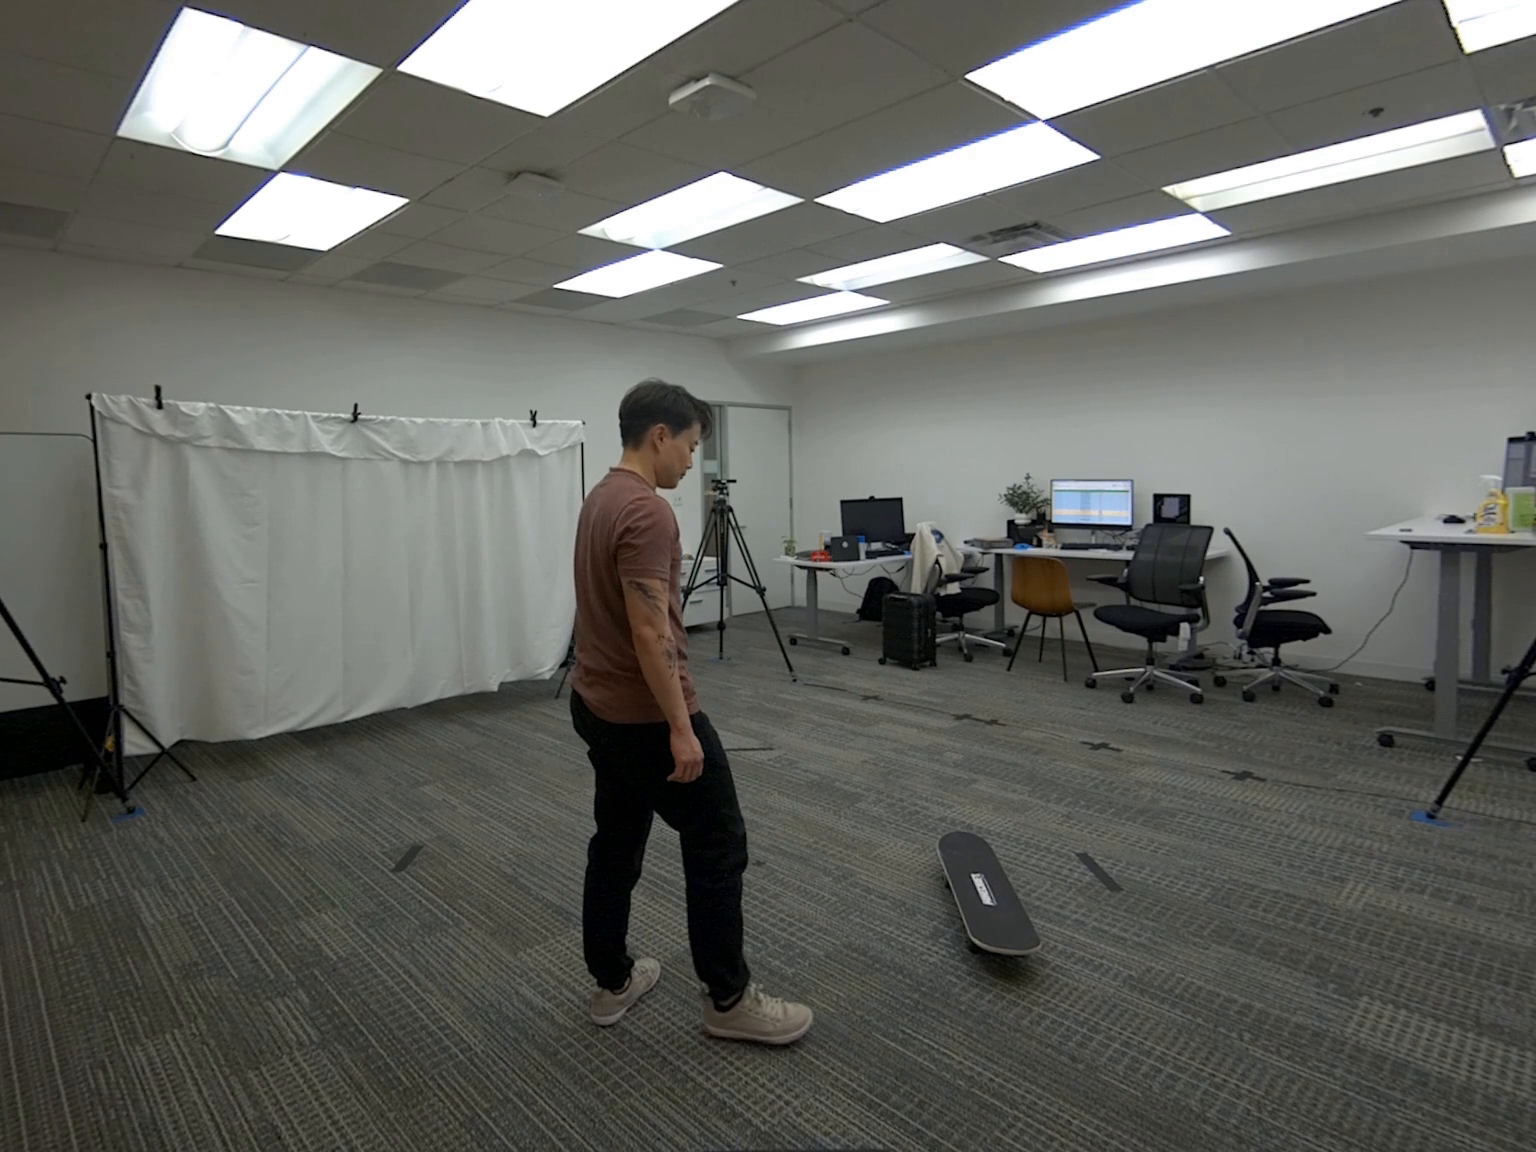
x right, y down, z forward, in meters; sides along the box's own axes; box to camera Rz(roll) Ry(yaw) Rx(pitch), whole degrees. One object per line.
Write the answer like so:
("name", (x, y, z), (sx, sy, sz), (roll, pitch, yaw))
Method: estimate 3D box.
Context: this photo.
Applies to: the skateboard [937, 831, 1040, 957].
("skateboard", (0.692, 1.026, 2.702), (0.194, 0.110, 0.786), (-2, 7, 3))
